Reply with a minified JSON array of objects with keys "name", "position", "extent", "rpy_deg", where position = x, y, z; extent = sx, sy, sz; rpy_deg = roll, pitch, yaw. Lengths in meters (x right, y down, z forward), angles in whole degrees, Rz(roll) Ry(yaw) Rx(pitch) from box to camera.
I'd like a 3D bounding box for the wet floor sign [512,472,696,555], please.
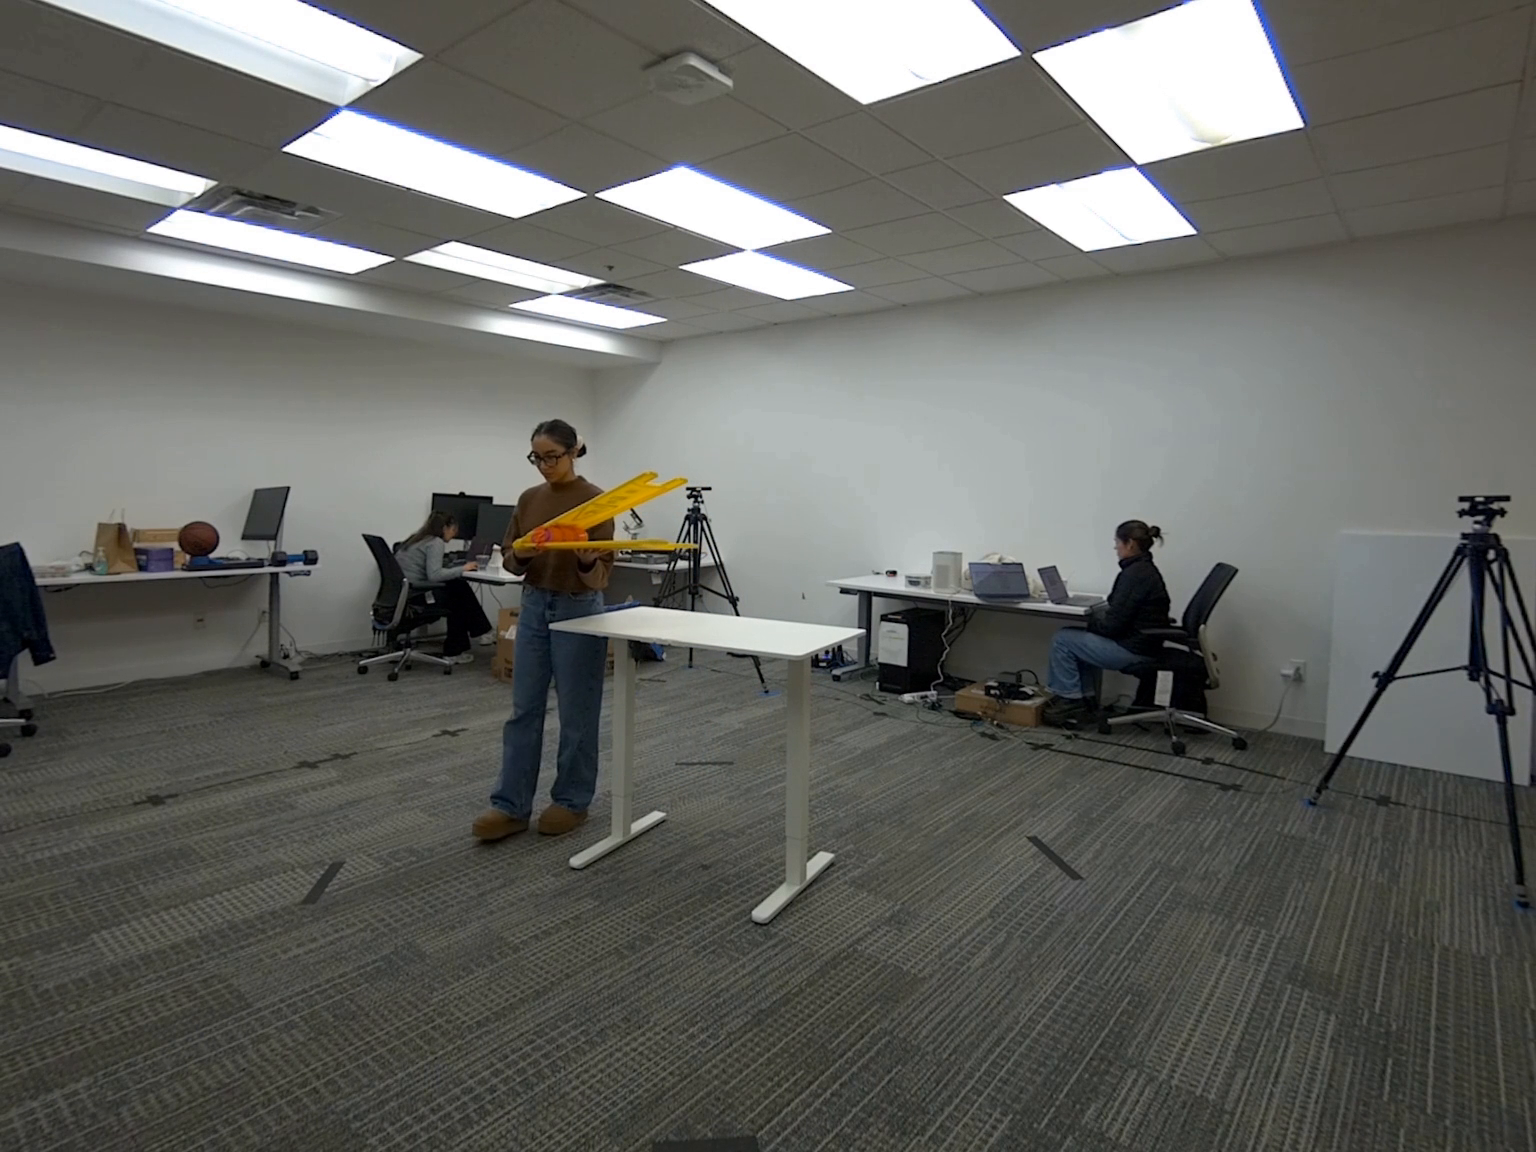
[{"name":"wet floor sign","position":[-0.634,-0.168,3.055],"extent":[0.658,0.292,0.275],"rpy_deg":[-9,-6,23]}]
